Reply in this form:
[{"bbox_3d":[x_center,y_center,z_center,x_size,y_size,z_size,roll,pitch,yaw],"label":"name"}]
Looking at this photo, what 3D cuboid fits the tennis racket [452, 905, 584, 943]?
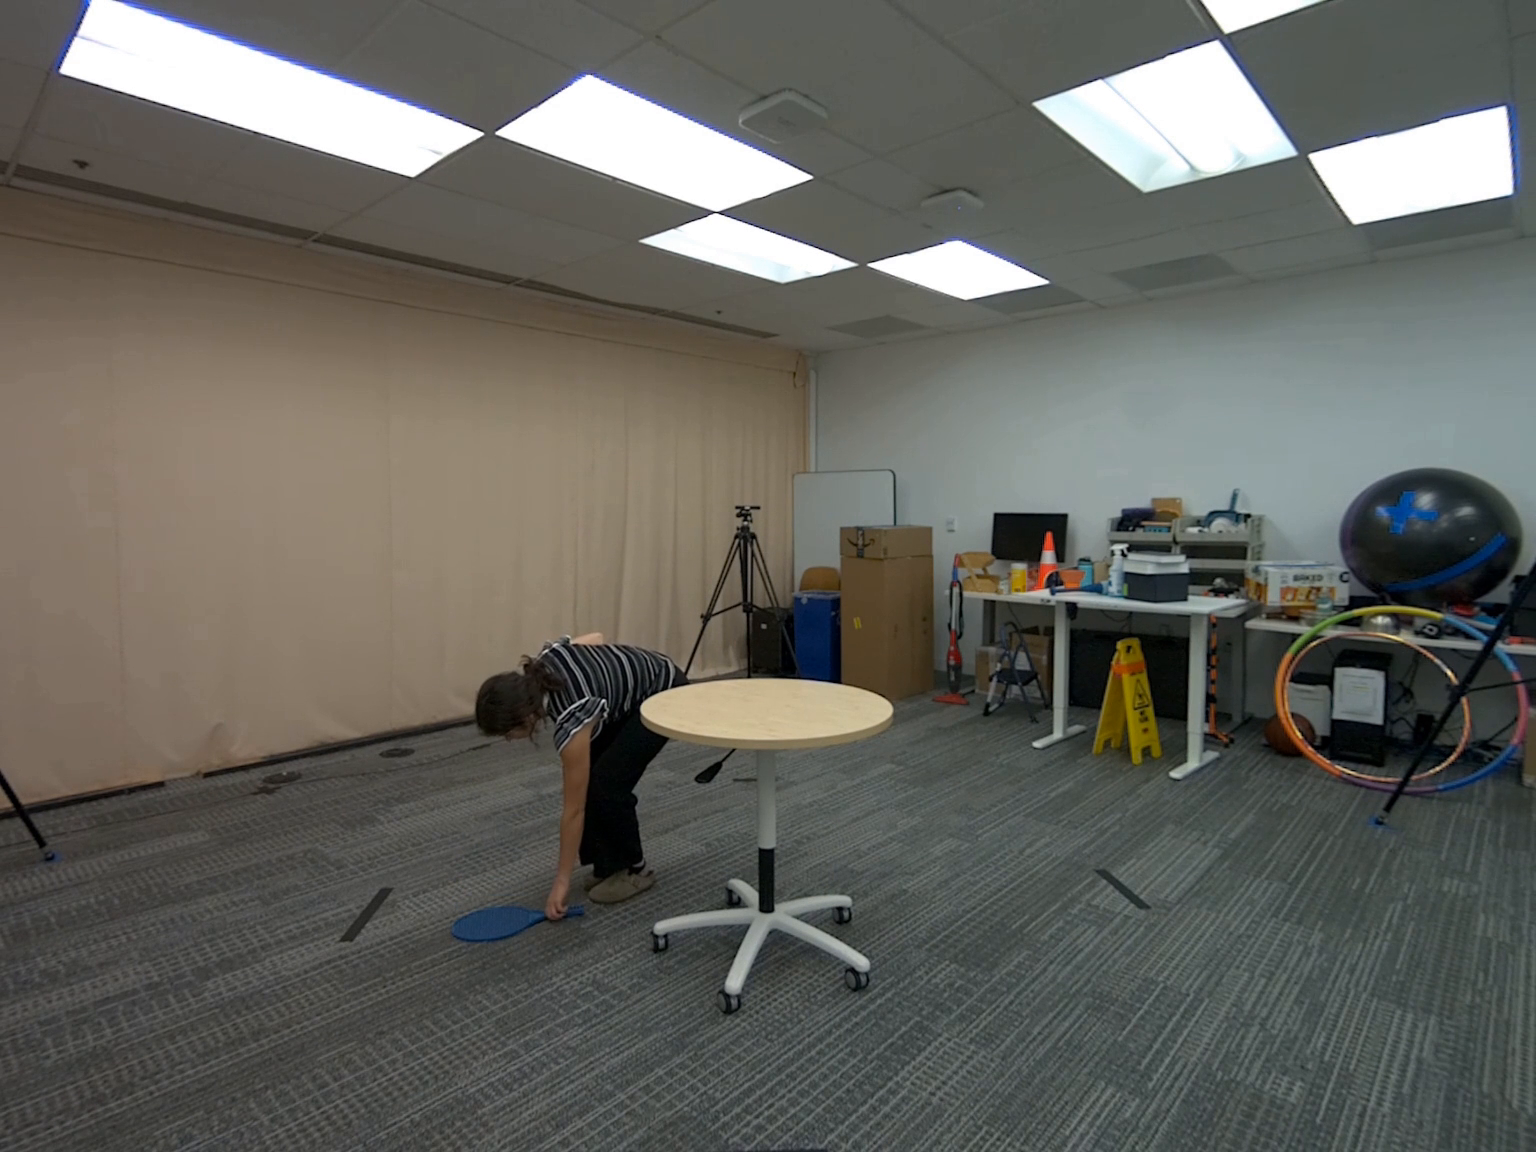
[{"bbox_3d":[-0.841,1.153,2.823,0.426,0.031,0.218,-3,6,-16],"label":"tennis racket"}]
